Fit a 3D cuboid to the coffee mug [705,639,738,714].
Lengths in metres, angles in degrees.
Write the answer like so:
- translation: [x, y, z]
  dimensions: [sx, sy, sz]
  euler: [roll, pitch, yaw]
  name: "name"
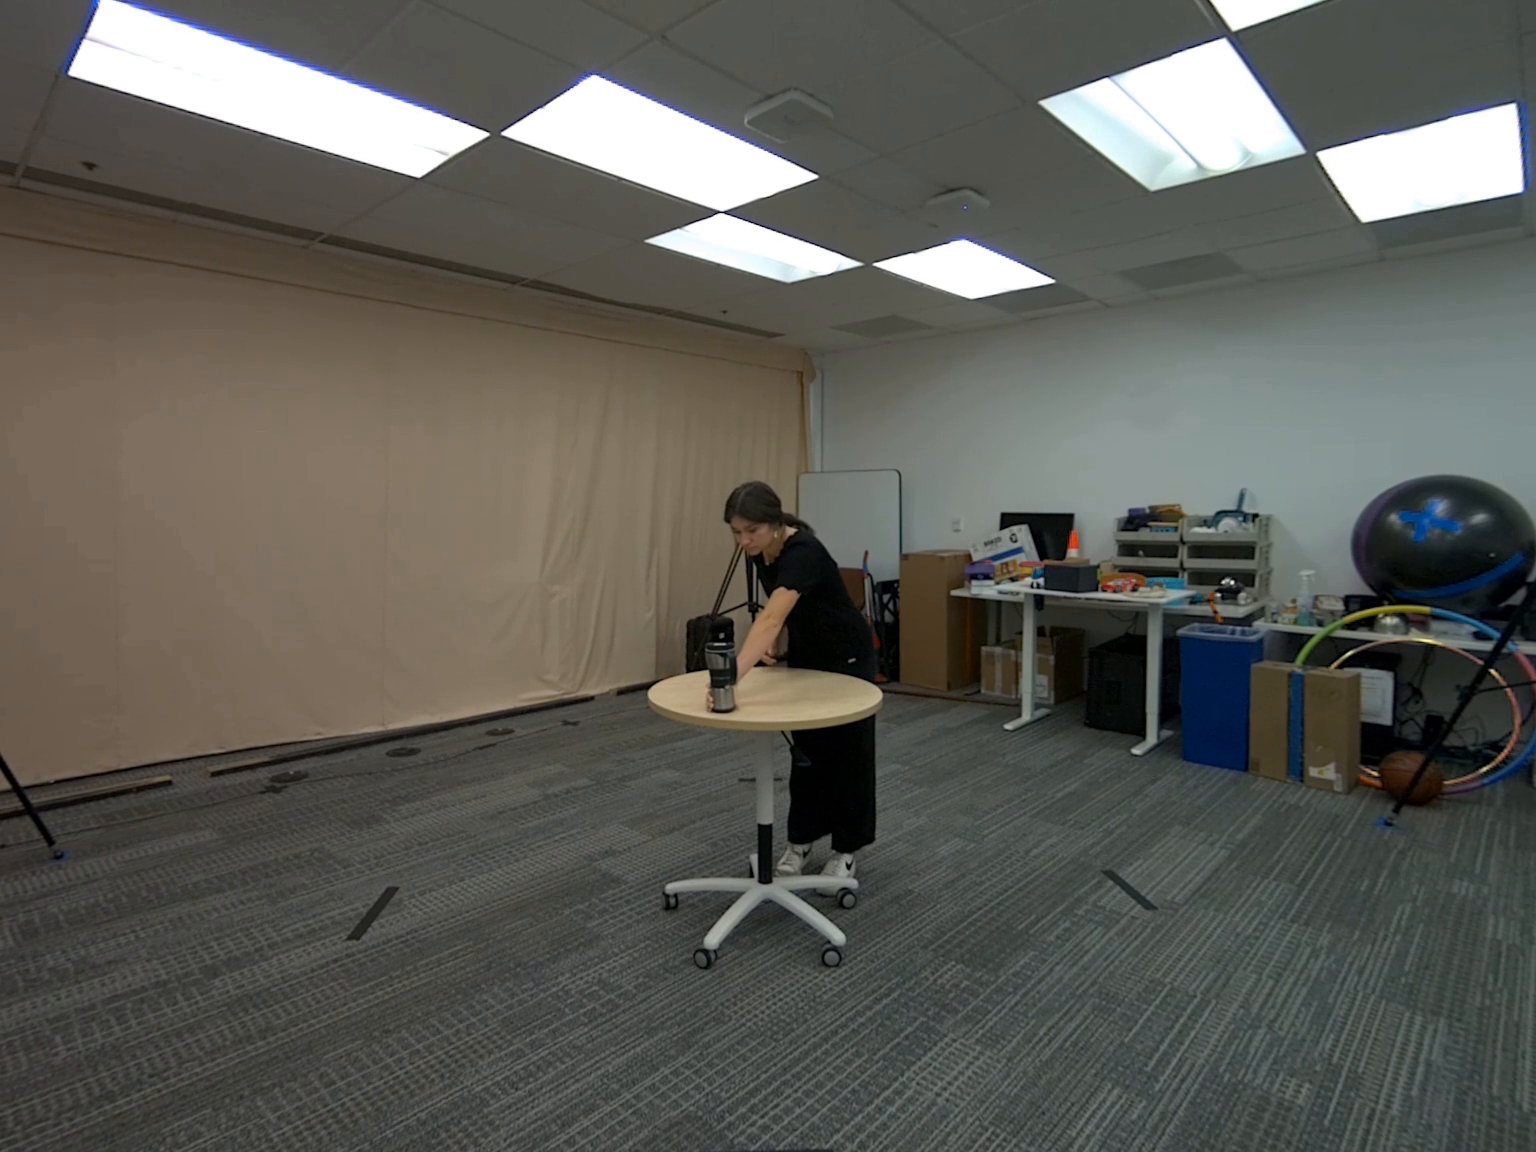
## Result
- translation: [-0.134, 0.303, 2.487]
  dimensions: [0.089, 0.203, 0.120]
  euler: [-1, 2, 15]
  name: "coffee mug"
